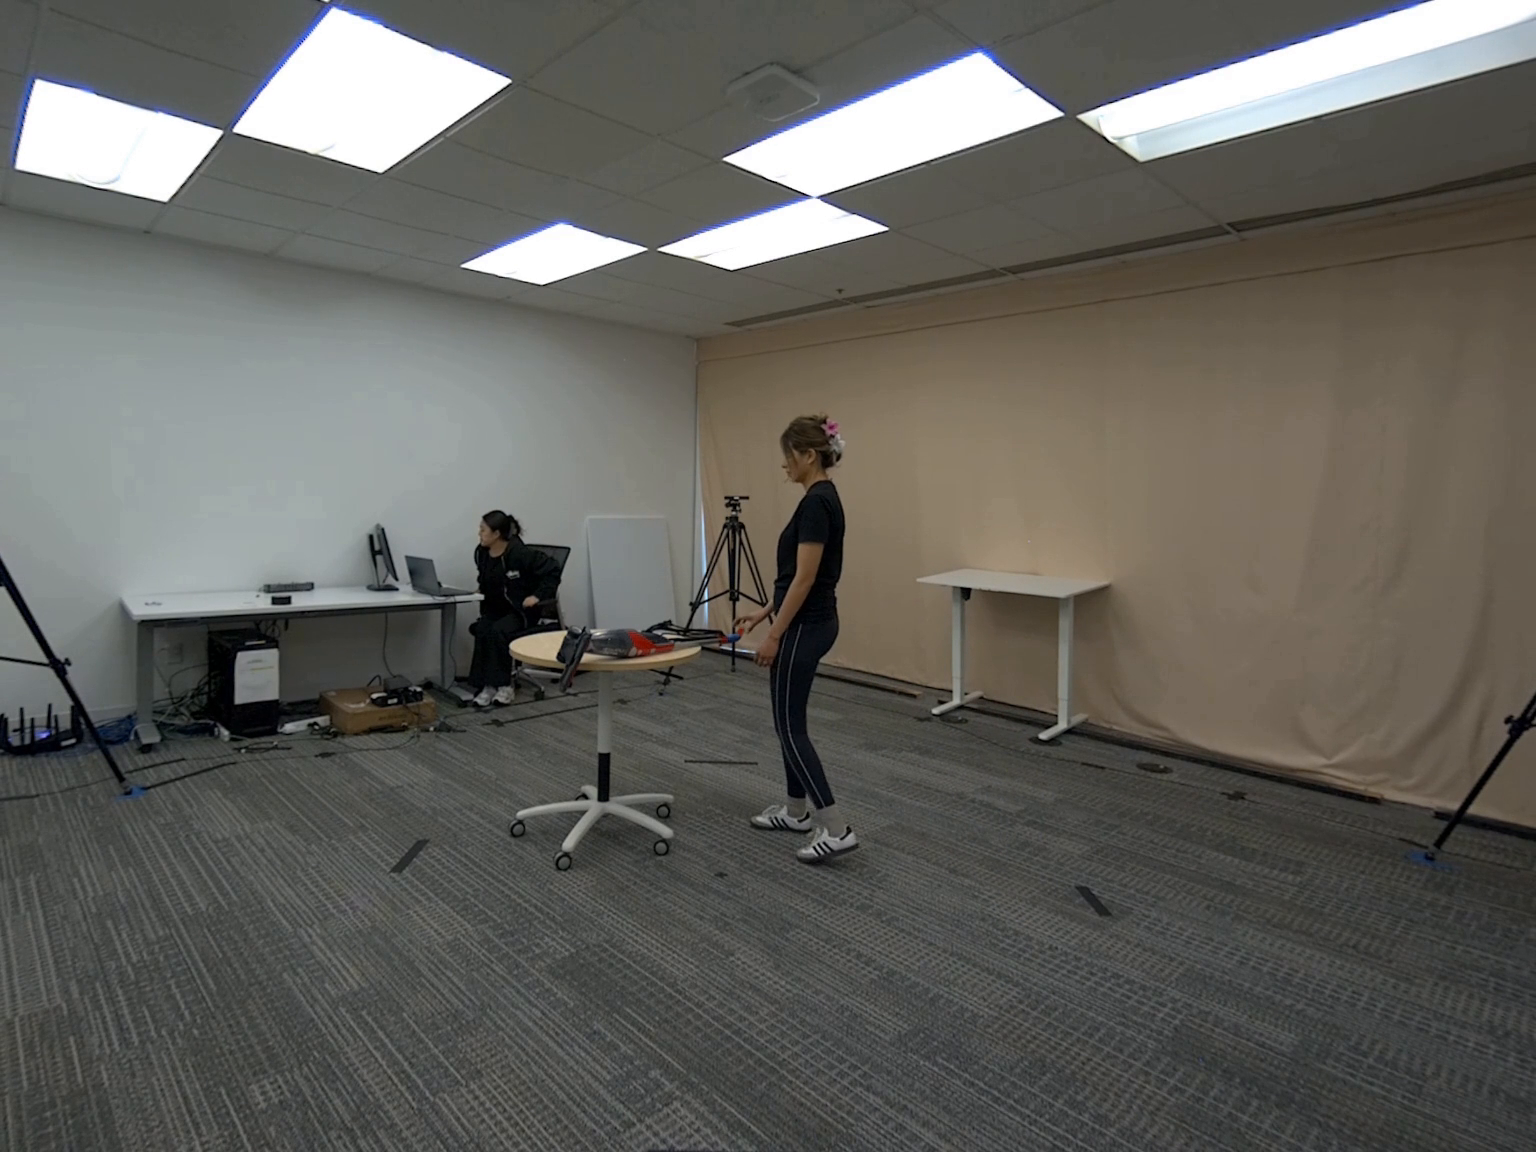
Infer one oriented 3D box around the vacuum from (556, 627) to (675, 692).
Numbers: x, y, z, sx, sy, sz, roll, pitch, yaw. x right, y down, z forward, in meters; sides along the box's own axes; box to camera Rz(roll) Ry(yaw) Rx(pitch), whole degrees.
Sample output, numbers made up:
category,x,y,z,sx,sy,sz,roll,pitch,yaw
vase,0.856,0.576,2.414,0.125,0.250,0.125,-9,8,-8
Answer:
category,x,y,z,sx,sy,sz,roll,pitch,yaw
vacuum,-0.414,0.267,3.340,0.148,0.251,1.026,39,22,27
